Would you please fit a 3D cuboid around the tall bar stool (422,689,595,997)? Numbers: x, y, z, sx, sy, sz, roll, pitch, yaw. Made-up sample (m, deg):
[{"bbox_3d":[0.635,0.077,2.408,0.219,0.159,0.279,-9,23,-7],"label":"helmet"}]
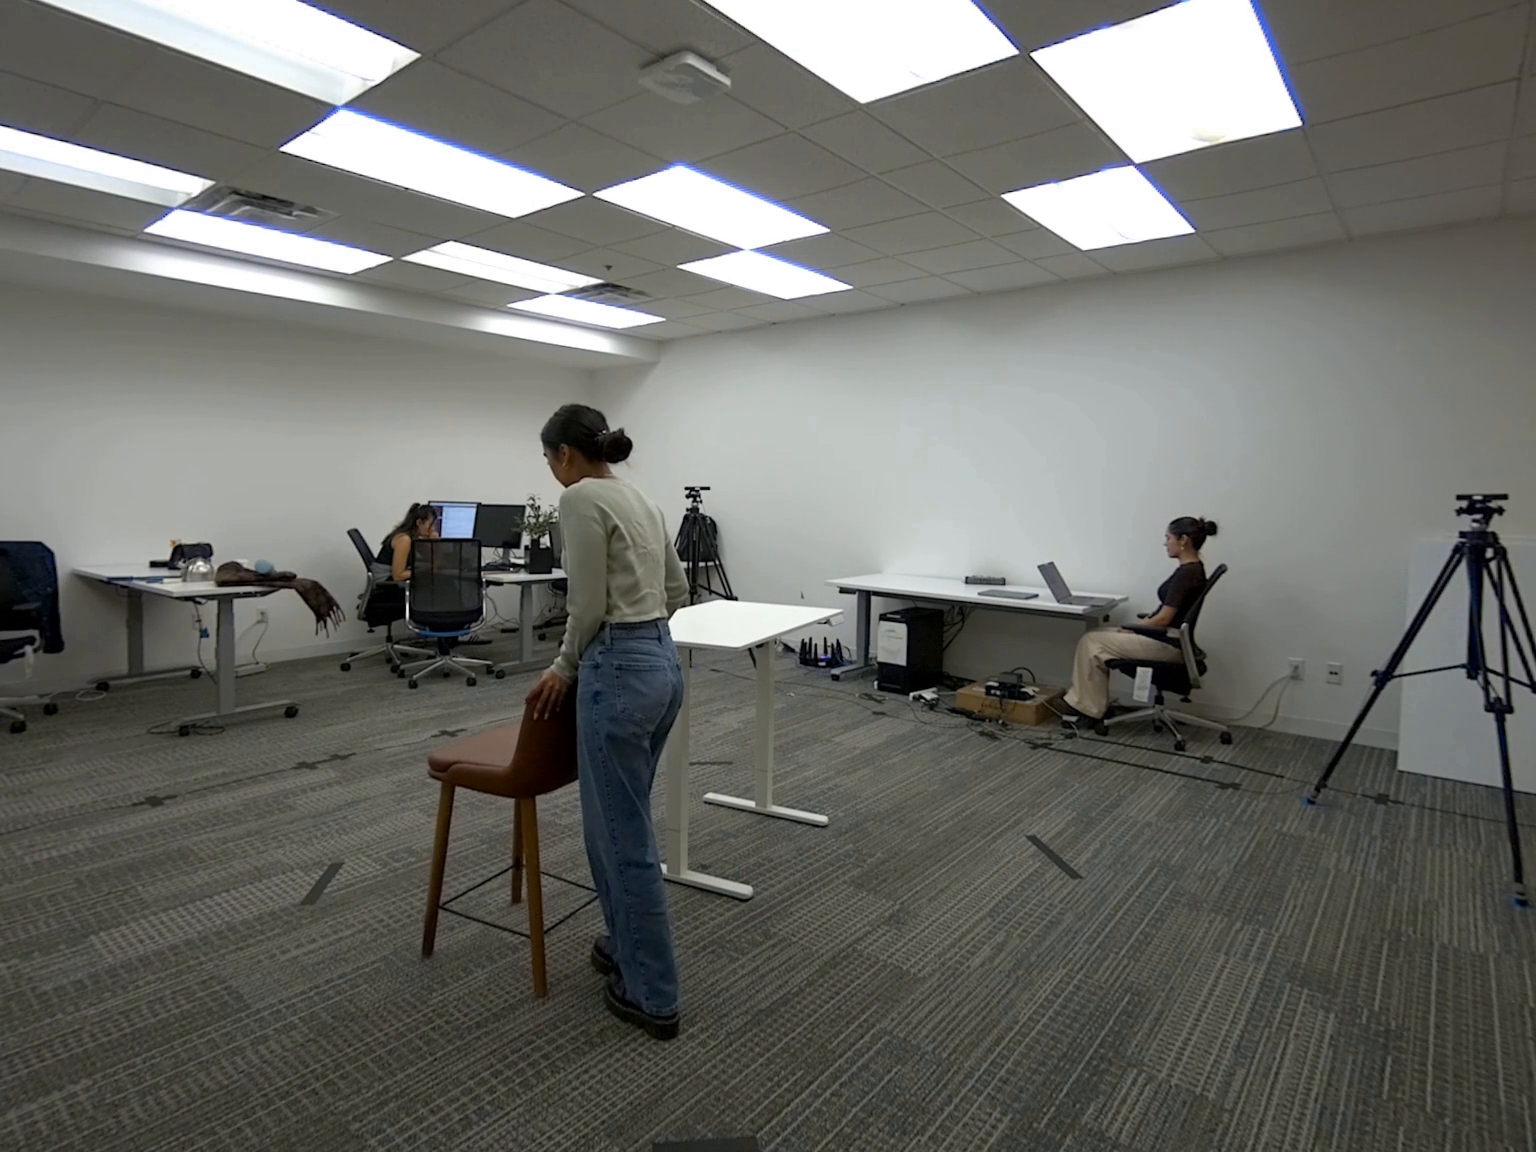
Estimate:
[{"bbox_3d":[-0.731,0.680,2.540,0.481,0.886,0.445,5,5,28],"label":"tall bar stool"}]
